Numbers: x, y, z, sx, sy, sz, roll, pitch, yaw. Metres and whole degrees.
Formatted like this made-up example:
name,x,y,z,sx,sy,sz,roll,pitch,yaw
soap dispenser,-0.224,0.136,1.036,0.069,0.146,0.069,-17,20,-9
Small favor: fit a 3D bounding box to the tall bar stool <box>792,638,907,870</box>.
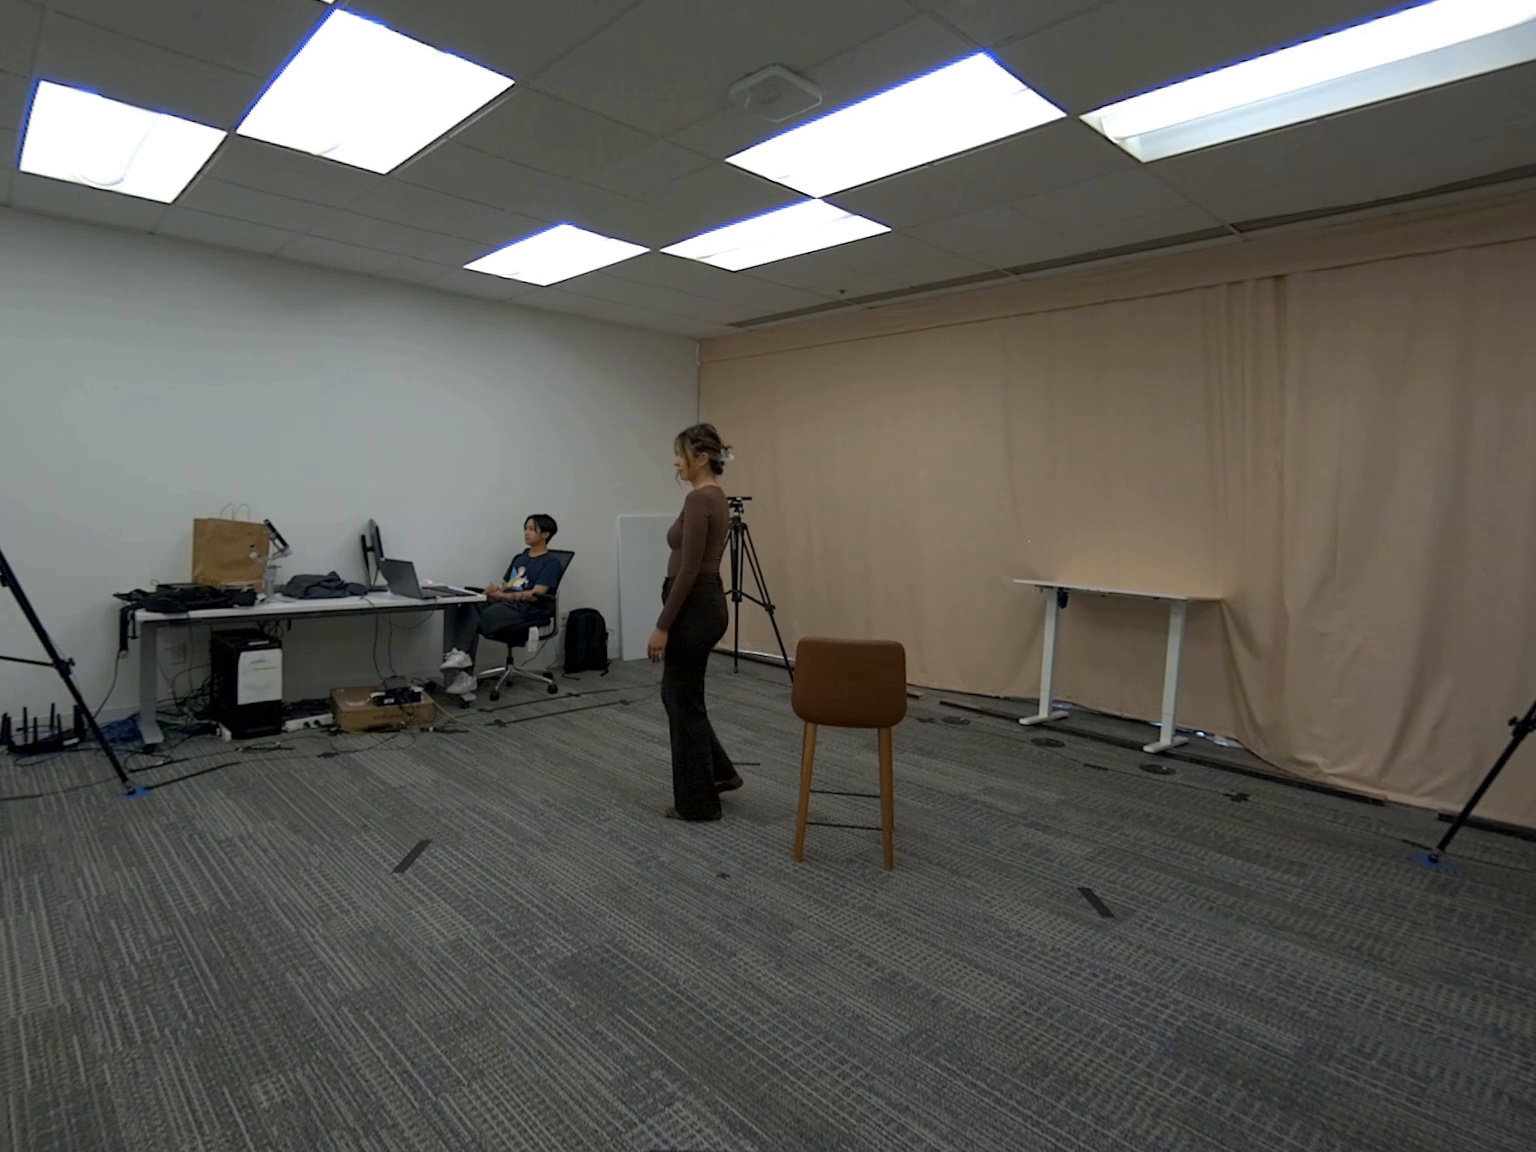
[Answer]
name,x,y,z,sx,sy,sz,roll,pitch,yaw
tall bar stool,0.318,0.659,3.404,0.460,0.887,0.465,2,4,8
